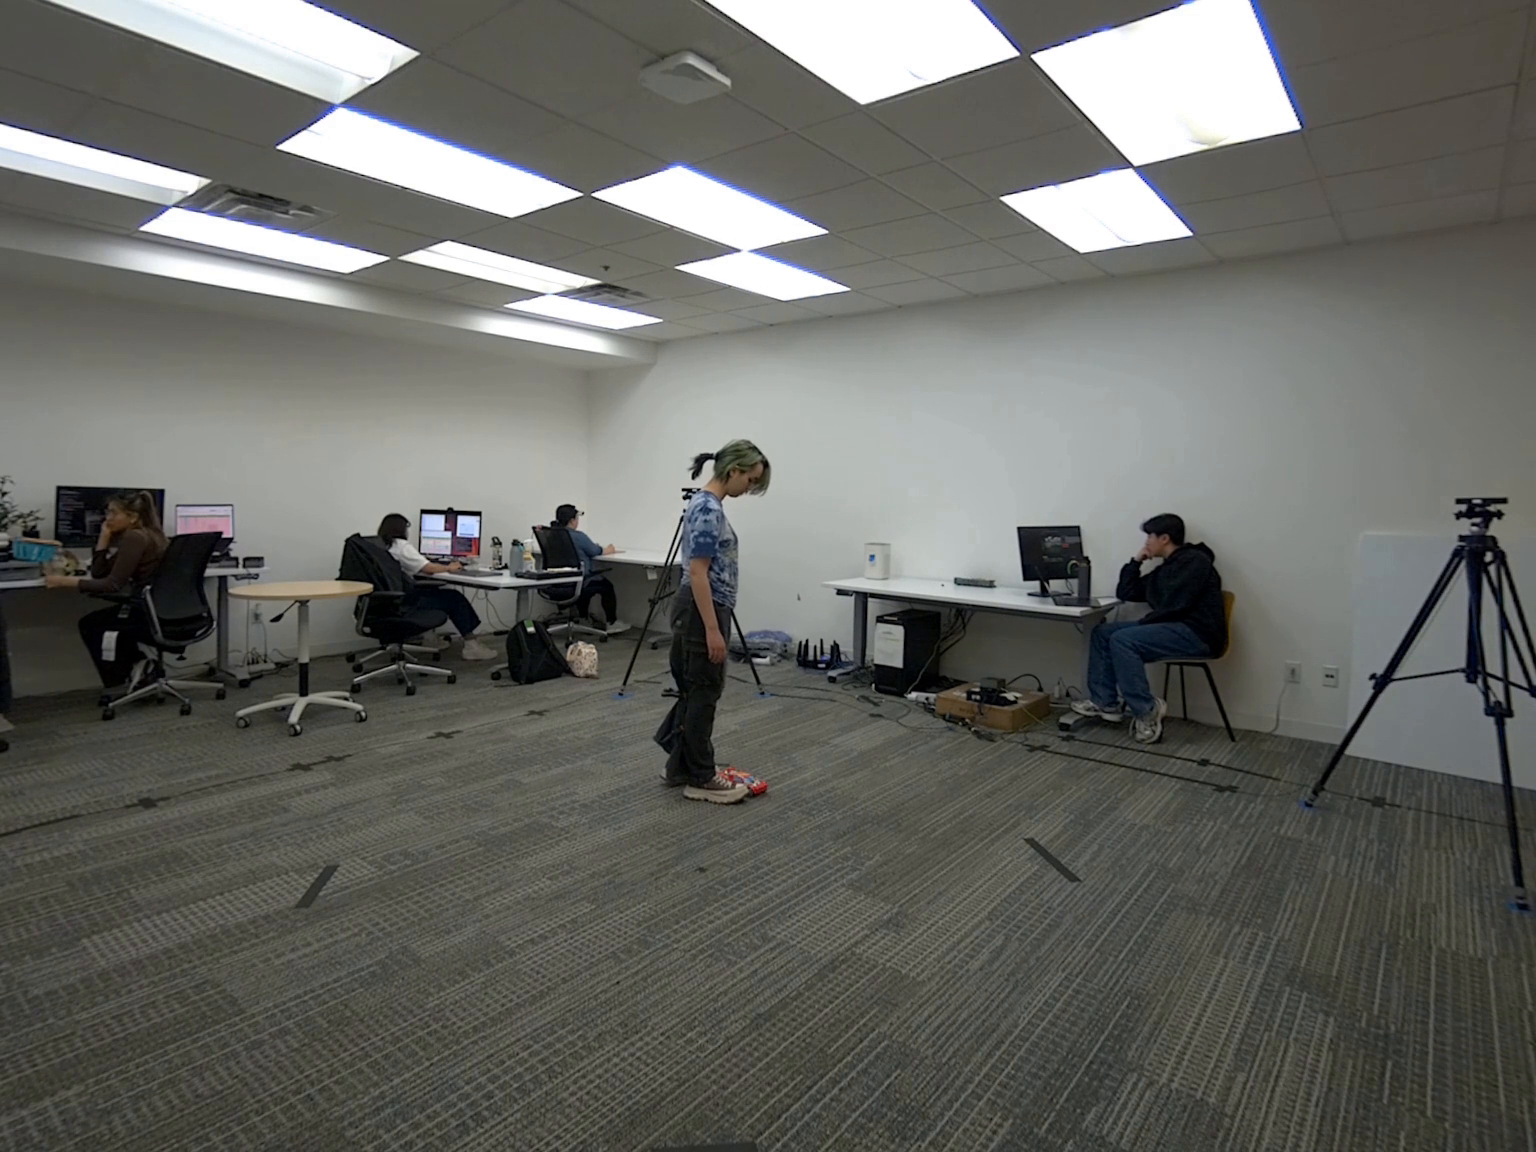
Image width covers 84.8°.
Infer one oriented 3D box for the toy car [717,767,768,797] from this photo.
[{"bbox_3d":[-0.134,0.956,3.956,0.264,0.082,0.126,19,14,38],"label":"toy car"}]
